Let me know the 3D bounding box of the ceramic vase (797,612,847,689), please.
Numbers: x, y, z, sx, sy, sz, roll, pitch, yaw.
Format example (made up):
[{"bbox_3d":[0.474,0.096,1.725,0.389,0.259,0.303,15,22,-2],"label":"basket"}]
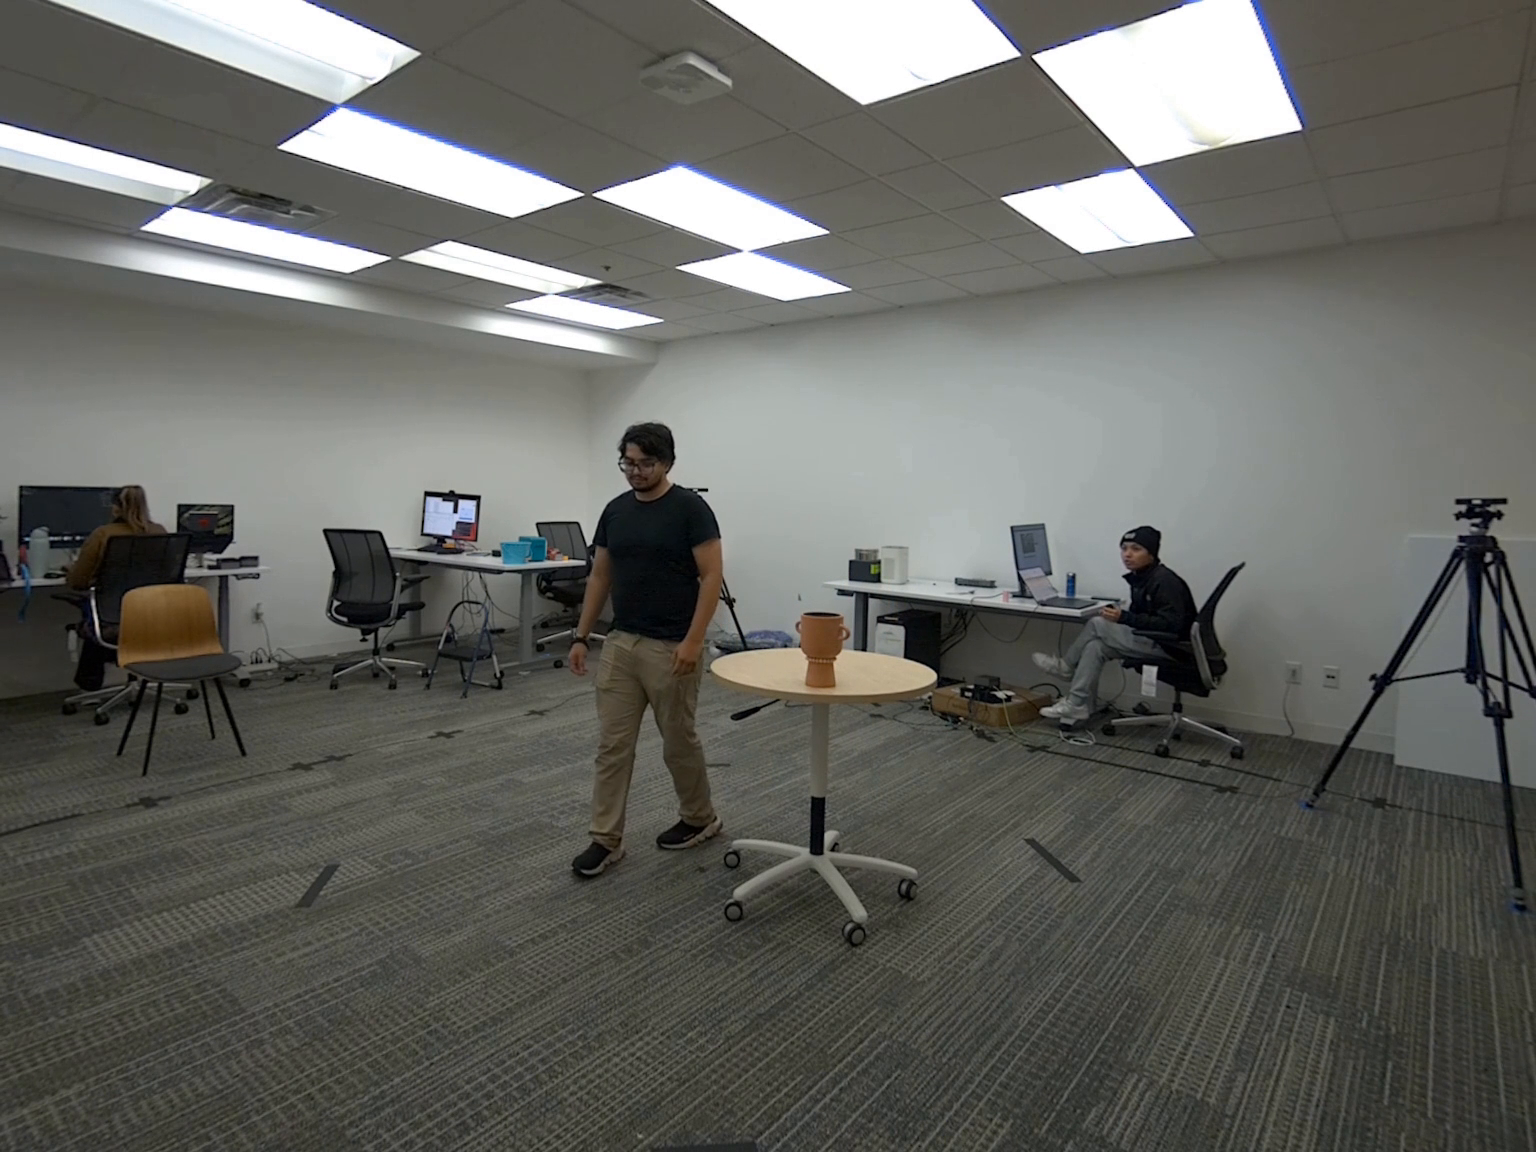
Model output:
[{"bbox_3d":[0.161,0.230,2.662,0.133,0.219,0.161,1,3,-14],"label":"ceramic vase"}]
